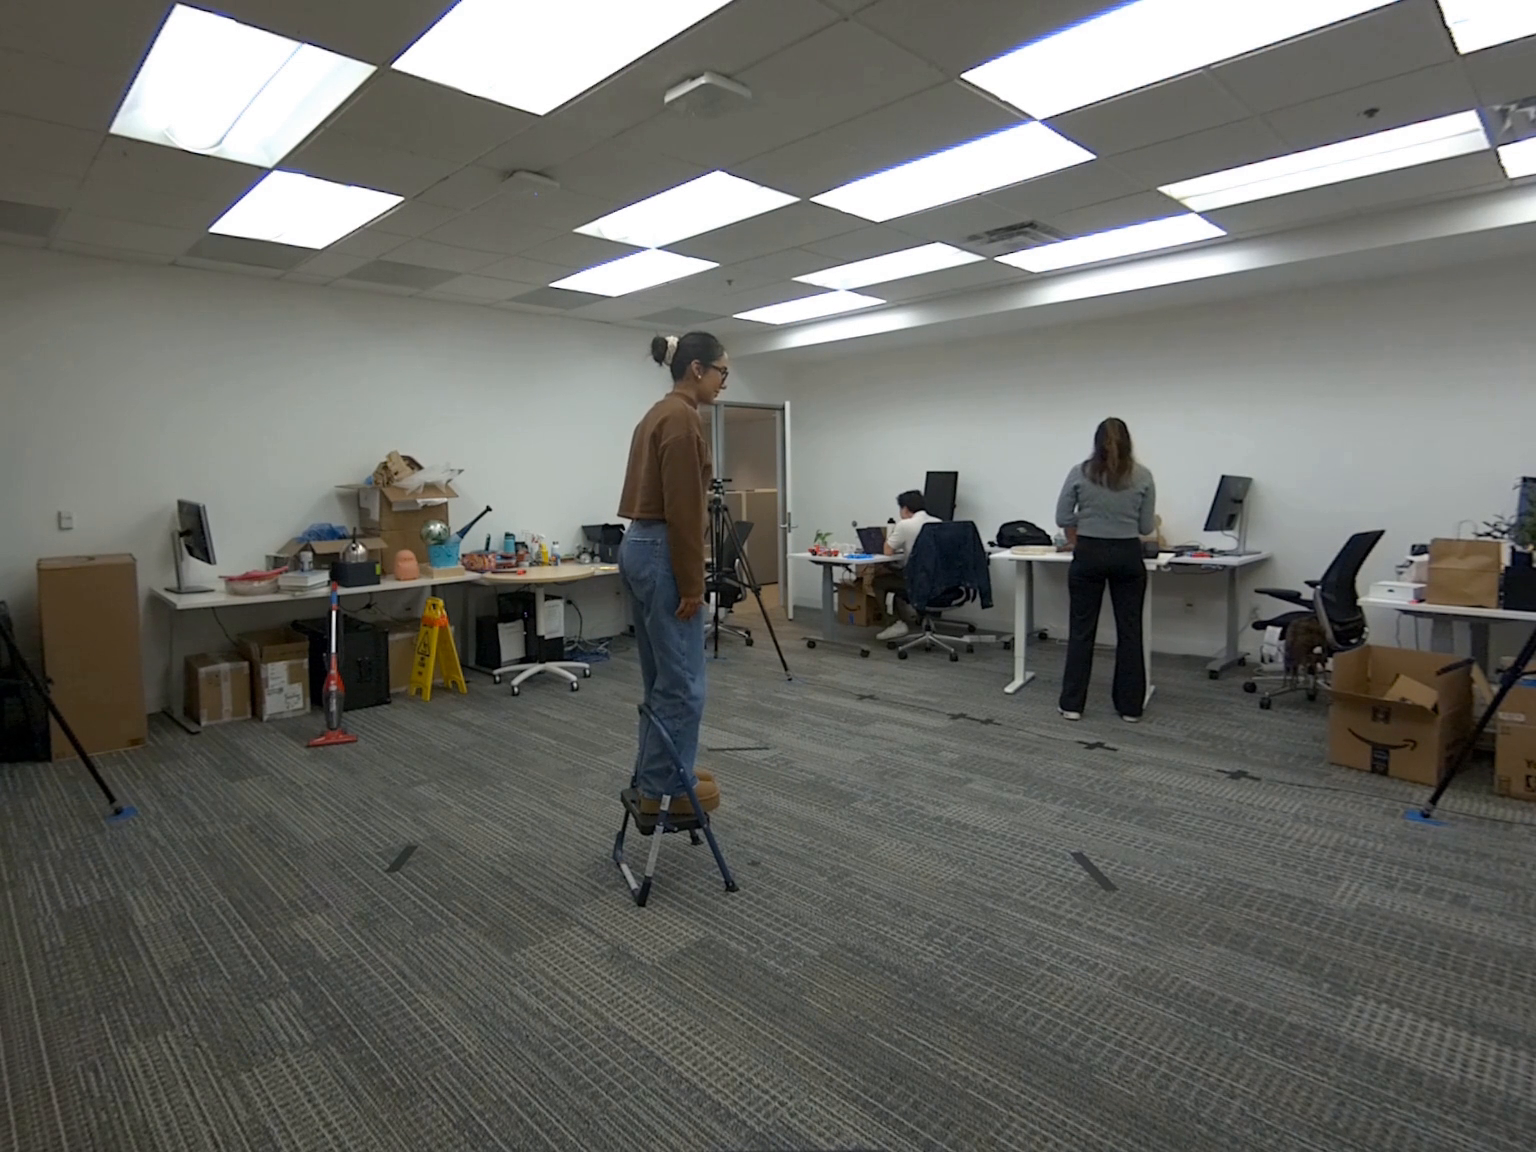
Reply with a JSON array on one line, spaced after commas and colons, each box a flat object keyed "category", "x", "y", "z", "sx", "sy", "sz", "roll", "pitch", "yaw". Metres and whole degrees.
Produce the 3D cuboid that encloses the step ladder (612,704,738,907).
[{"category": "step ladder", "x": -0.348, "y": 0.760, "z": 3.027, "sx": 0.343, "sy": 0.604, "sz": 0.440, "roll": -3, "pitch": 5, "yaw": -22}]
